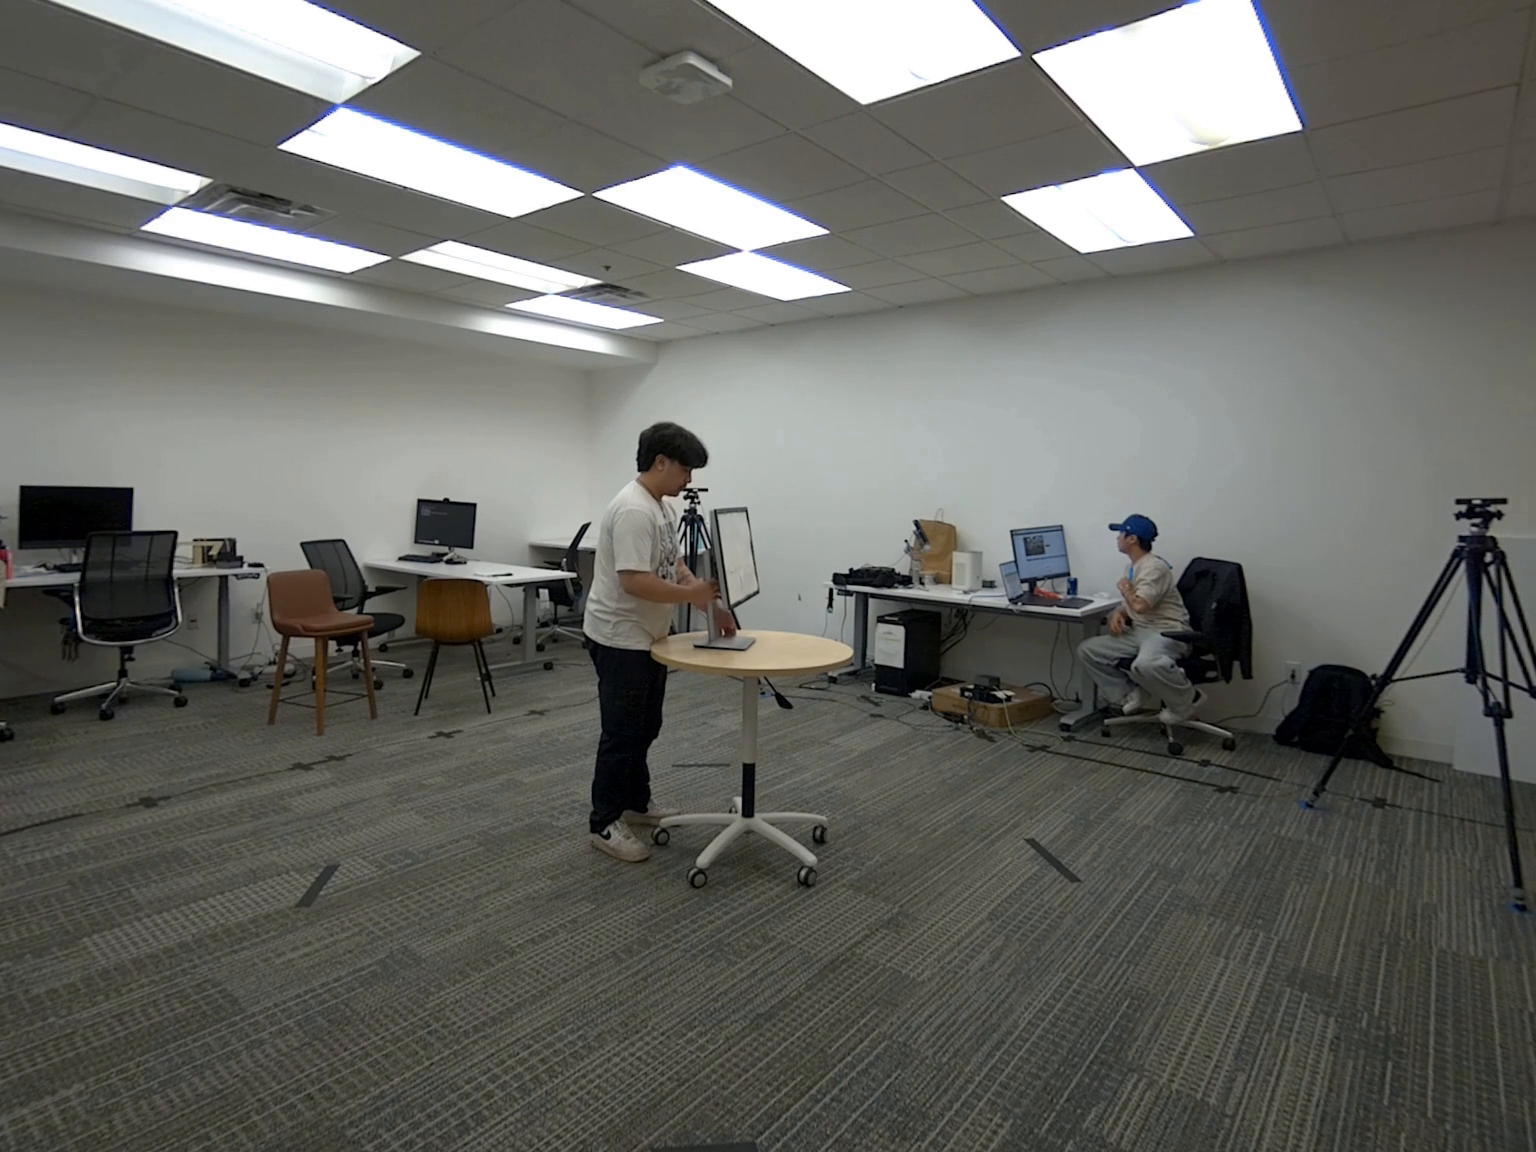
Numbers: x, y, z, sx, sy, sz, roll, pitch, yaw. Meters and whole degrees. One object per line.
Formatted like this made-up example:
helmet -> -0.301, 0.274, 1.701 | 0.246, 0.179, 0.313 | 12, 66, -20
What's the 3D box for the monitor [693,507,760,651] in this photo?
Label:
monitor -> -0.195, 0.005, 3.287 | 0.213, 0.552, 0.559 | -3, 3, 12
